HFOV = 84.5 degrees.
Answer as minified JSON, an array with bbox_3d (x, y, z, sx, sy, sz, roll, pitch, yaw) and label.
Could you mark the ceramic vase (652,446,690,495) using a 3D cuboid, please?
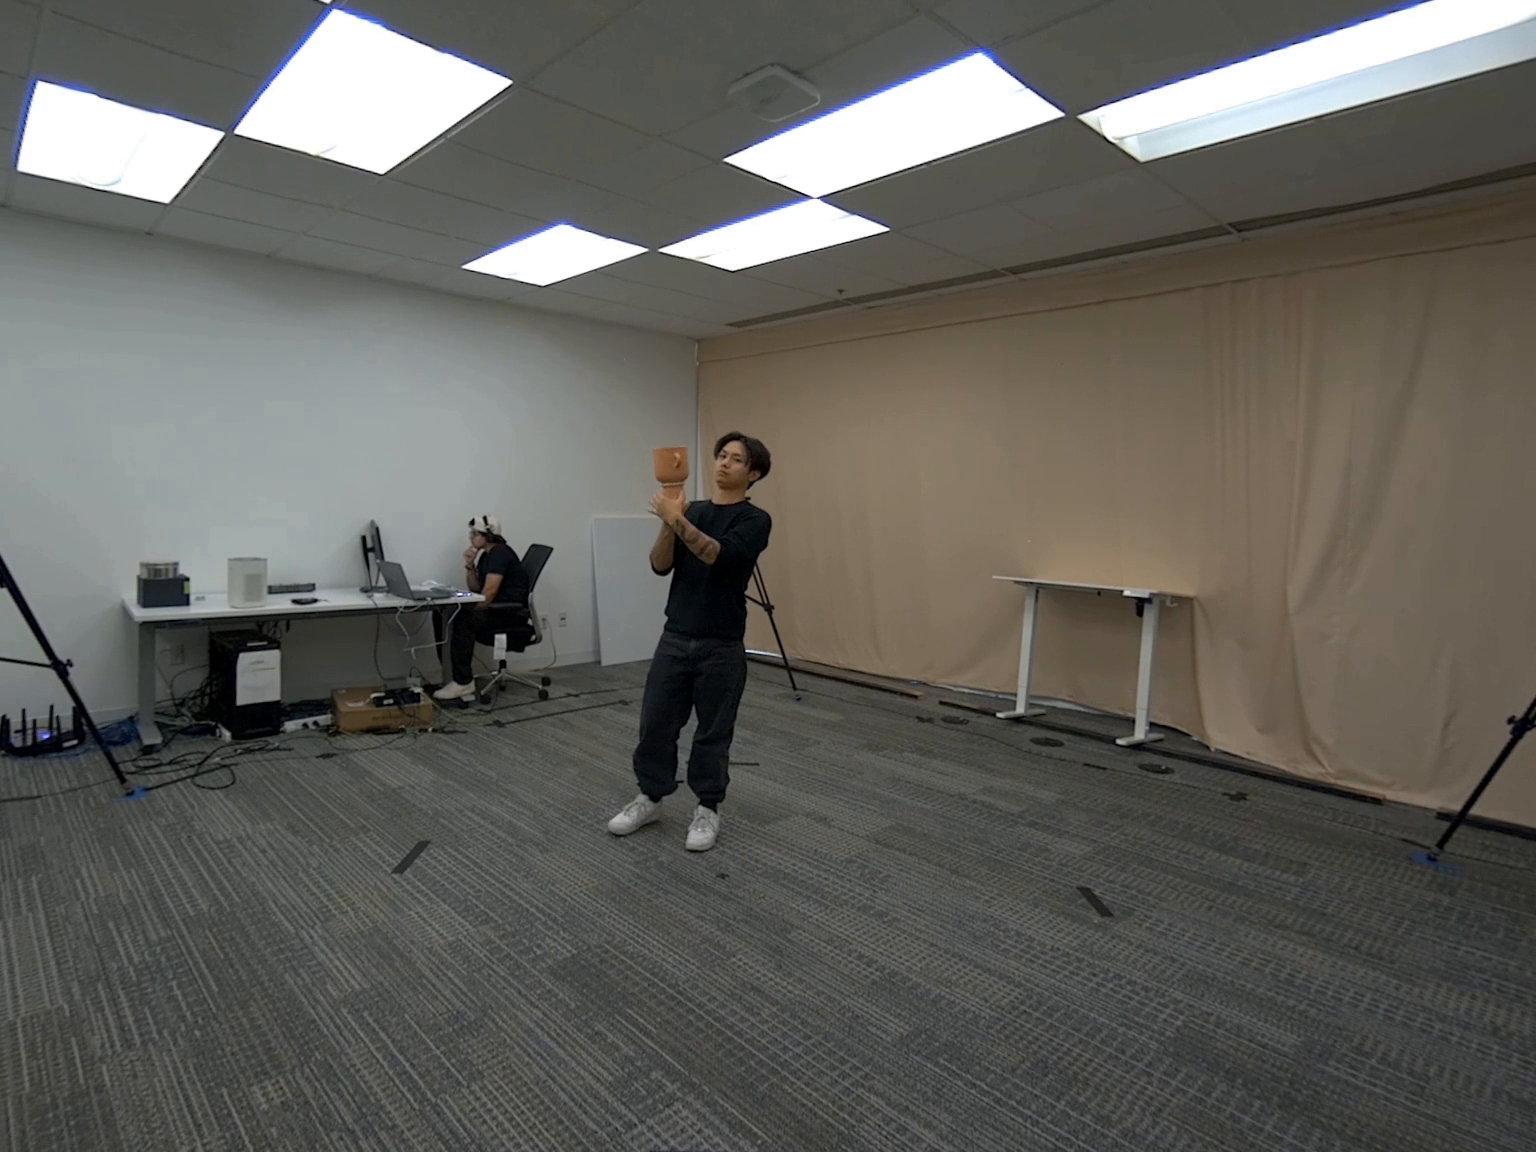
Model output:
[{"bbox_3d":[-0.371,-0.376,3.167,0.136,0.219,0.157,-1,7,19],"label":"ceramic vase"}]
